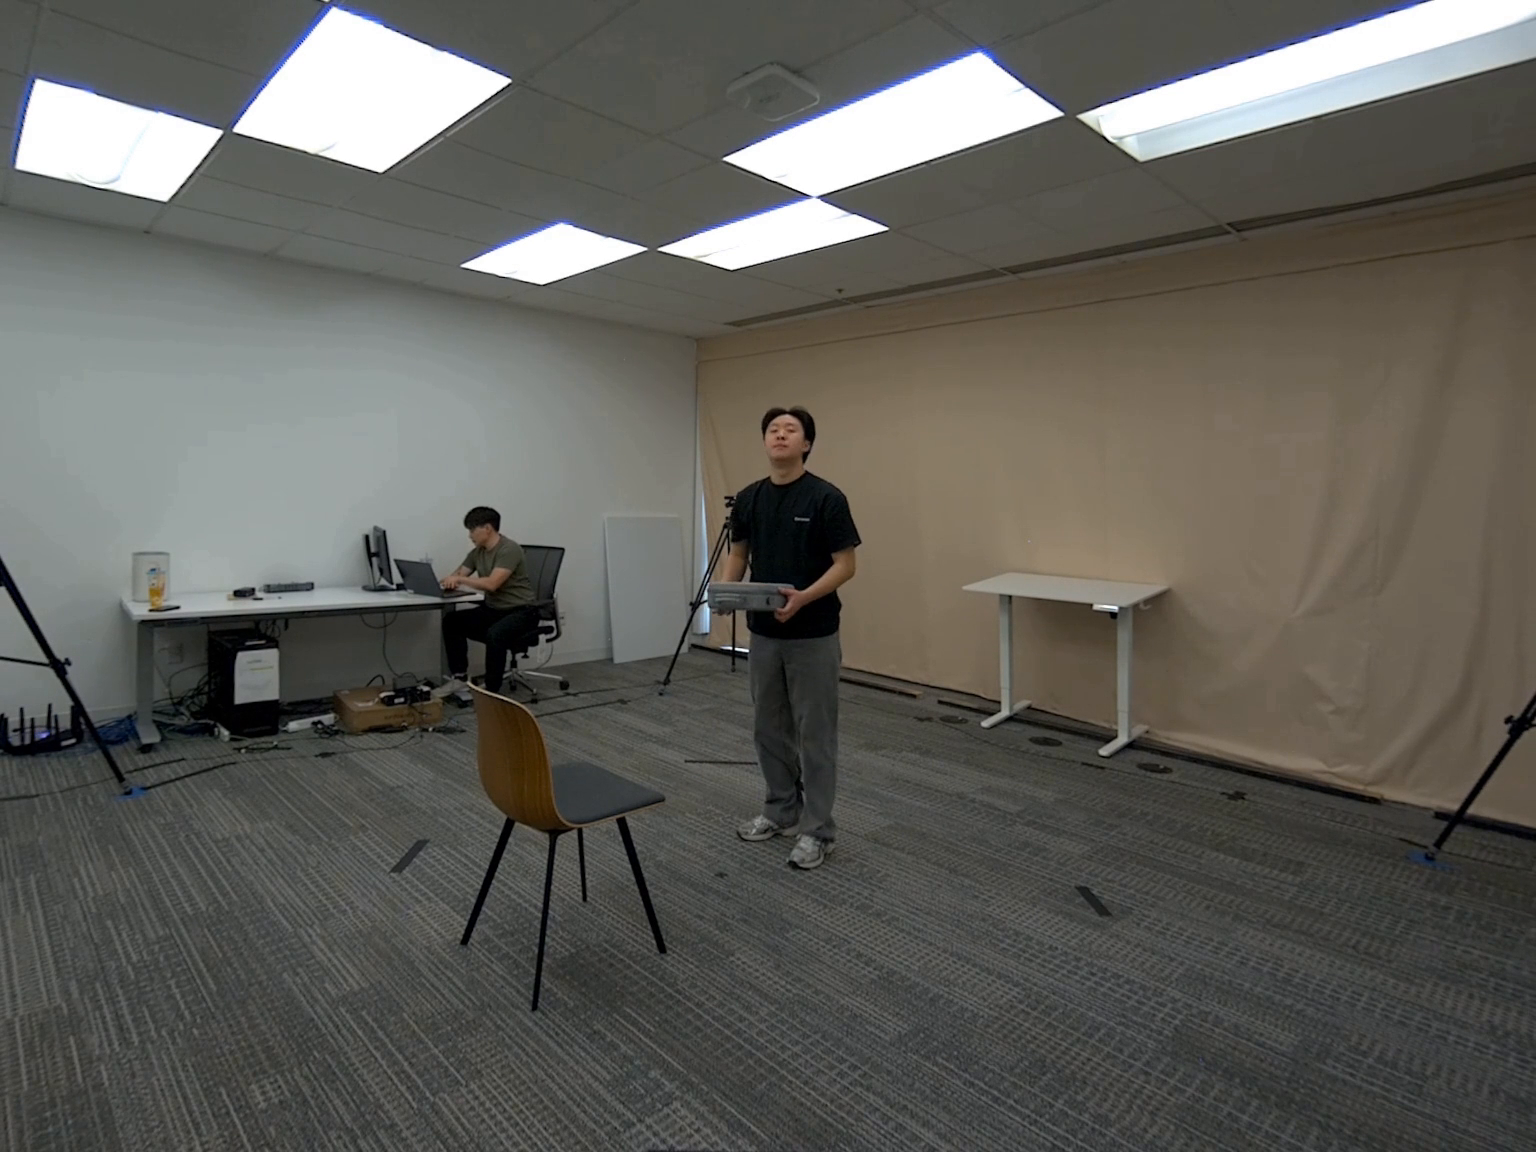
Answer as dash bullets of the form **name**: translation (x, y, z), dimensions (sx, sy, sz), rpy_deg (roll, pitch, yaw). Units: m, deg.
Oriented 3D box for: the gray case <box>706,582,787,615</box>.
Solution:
- **gray case**: translation (-0.074, 0.083, 3.119), dimensions (0.268, 0.103, 0.281), rpy_deg (1, 1, 27)
